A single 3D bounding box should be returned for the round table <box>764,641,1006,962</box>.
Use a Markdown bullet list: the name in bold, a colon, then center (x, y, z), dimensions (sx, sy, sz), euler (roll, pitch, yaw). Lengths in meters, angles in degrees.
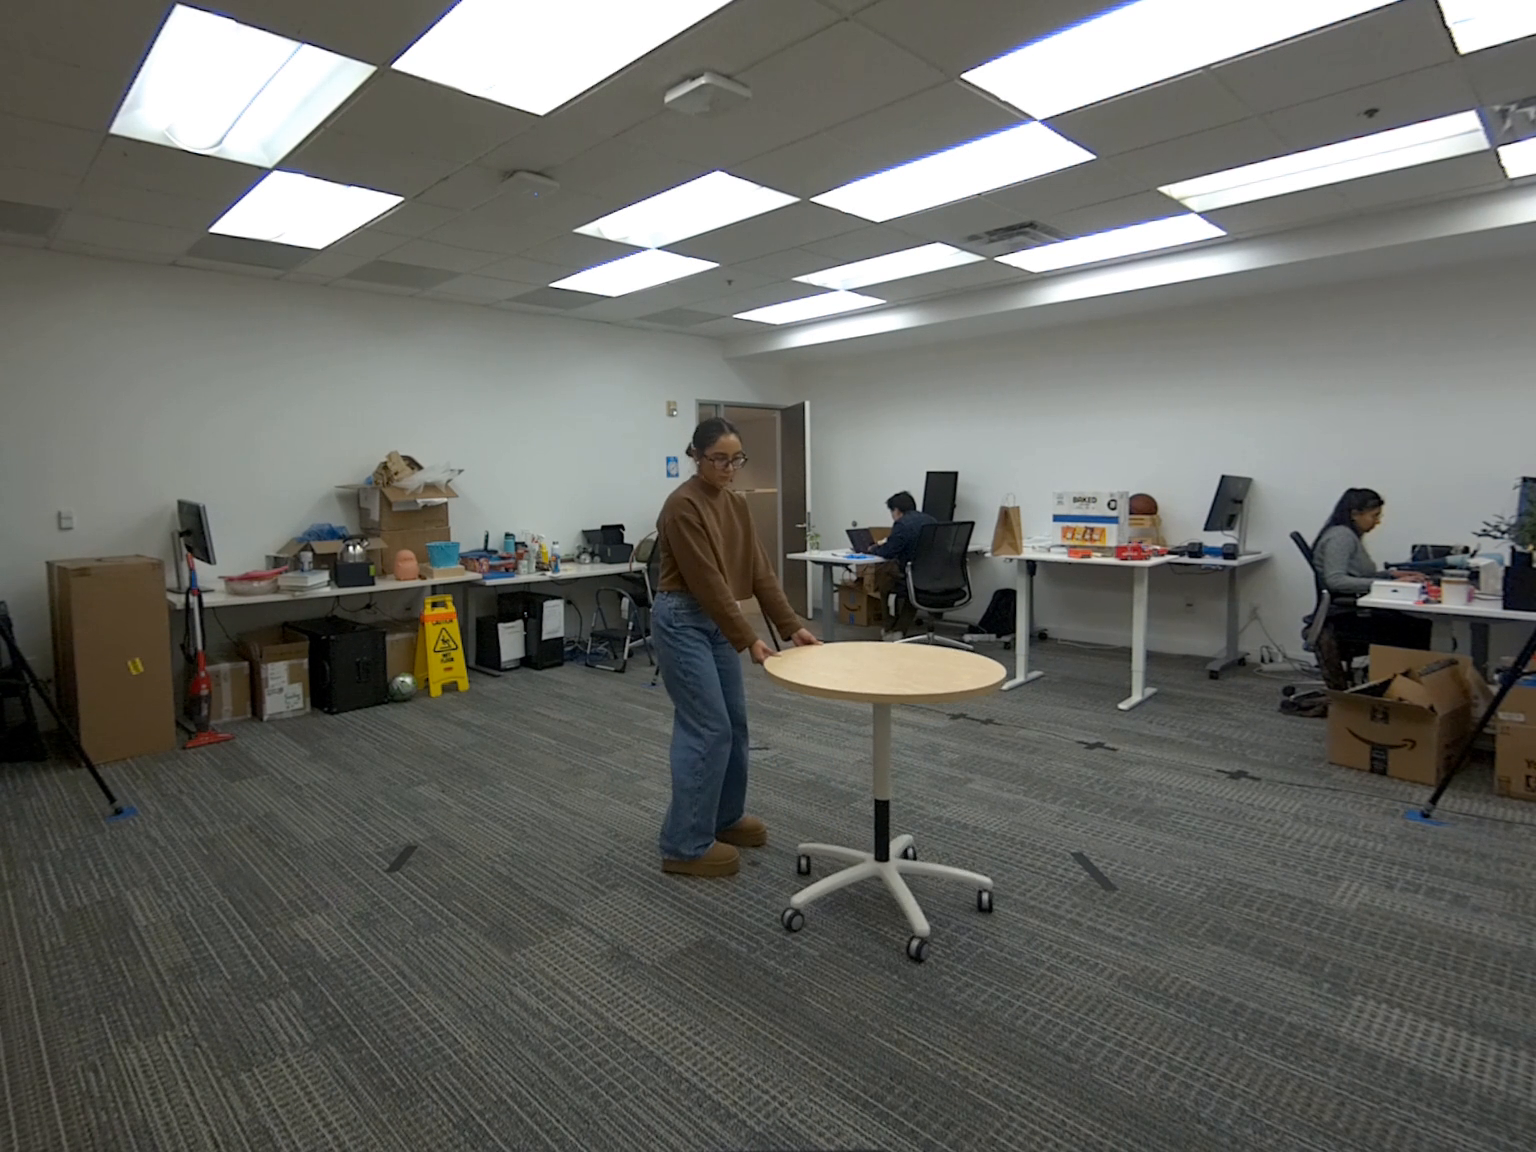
- **round table**: center (0.349, 0.678, 2.783), dimensions (0.784, 0.783, 0.789), euler (0, 5, -2)
